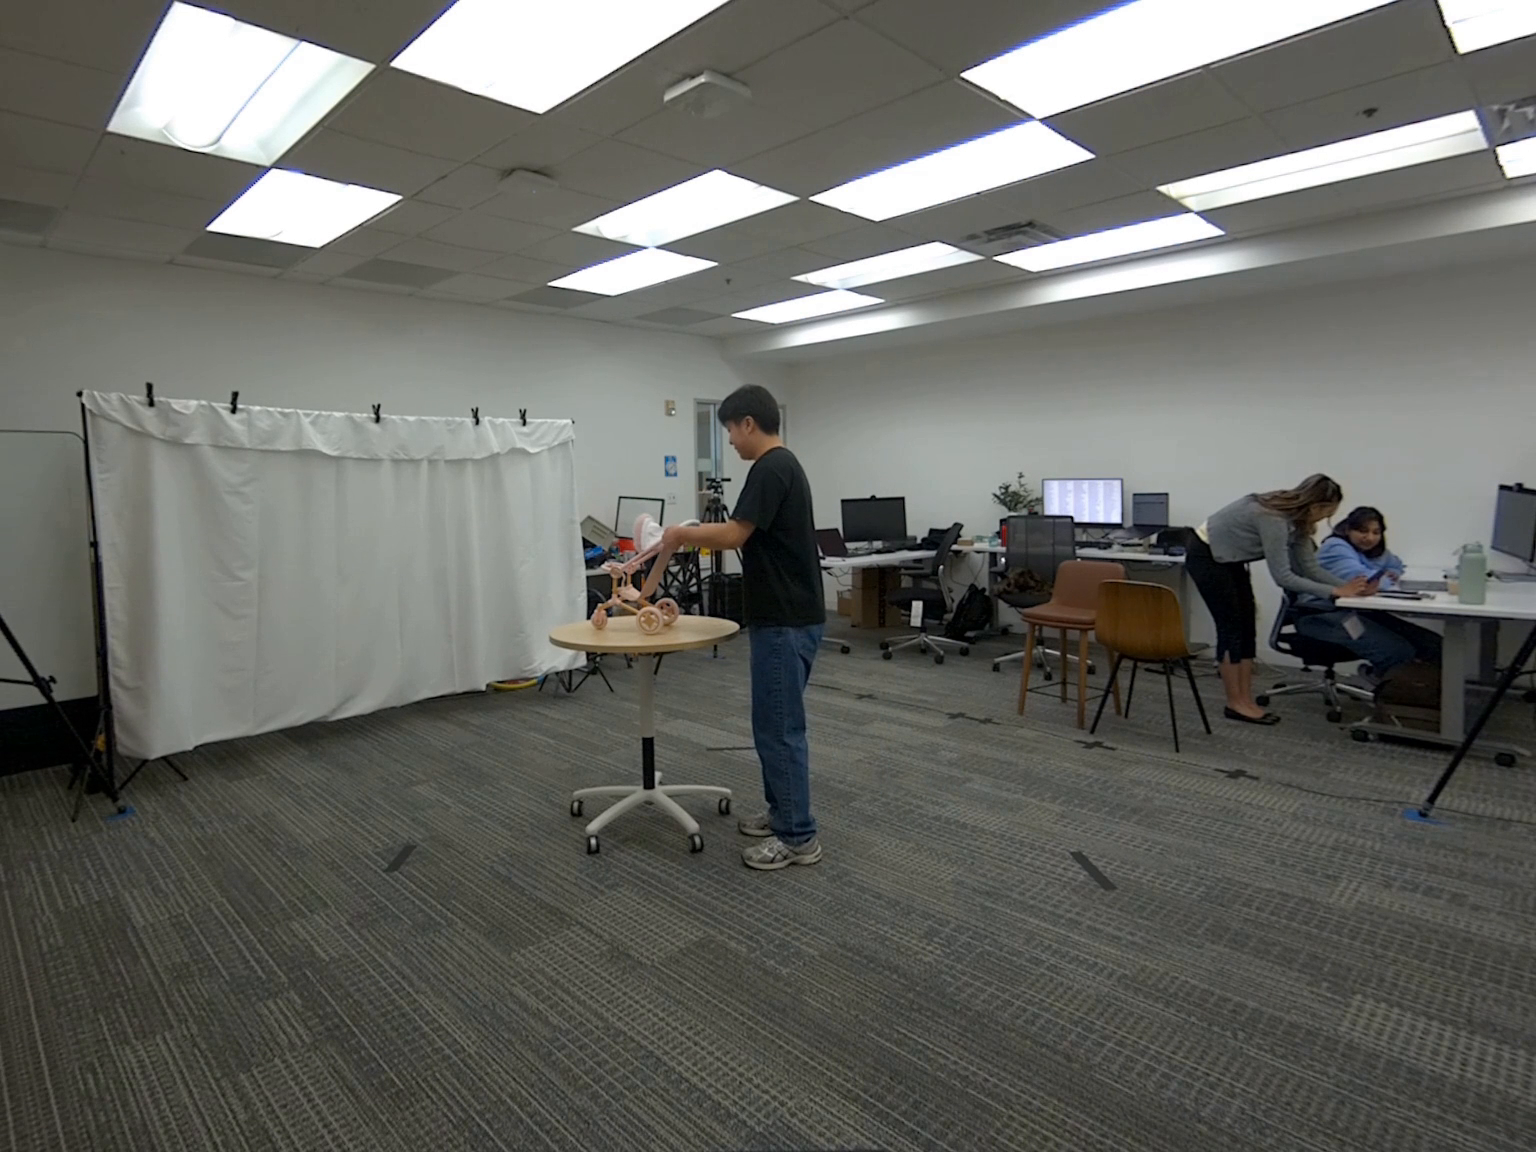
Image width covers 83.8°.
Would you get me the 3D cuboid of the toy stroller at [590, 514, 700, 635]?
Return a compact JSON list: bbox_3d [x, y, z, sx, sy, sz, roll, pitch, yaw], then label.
[{"bbox_3d":[-0.505,-0.008,3.439,0.347,0.532,0.278,15,7,13],"label":"toy stroller"}]
